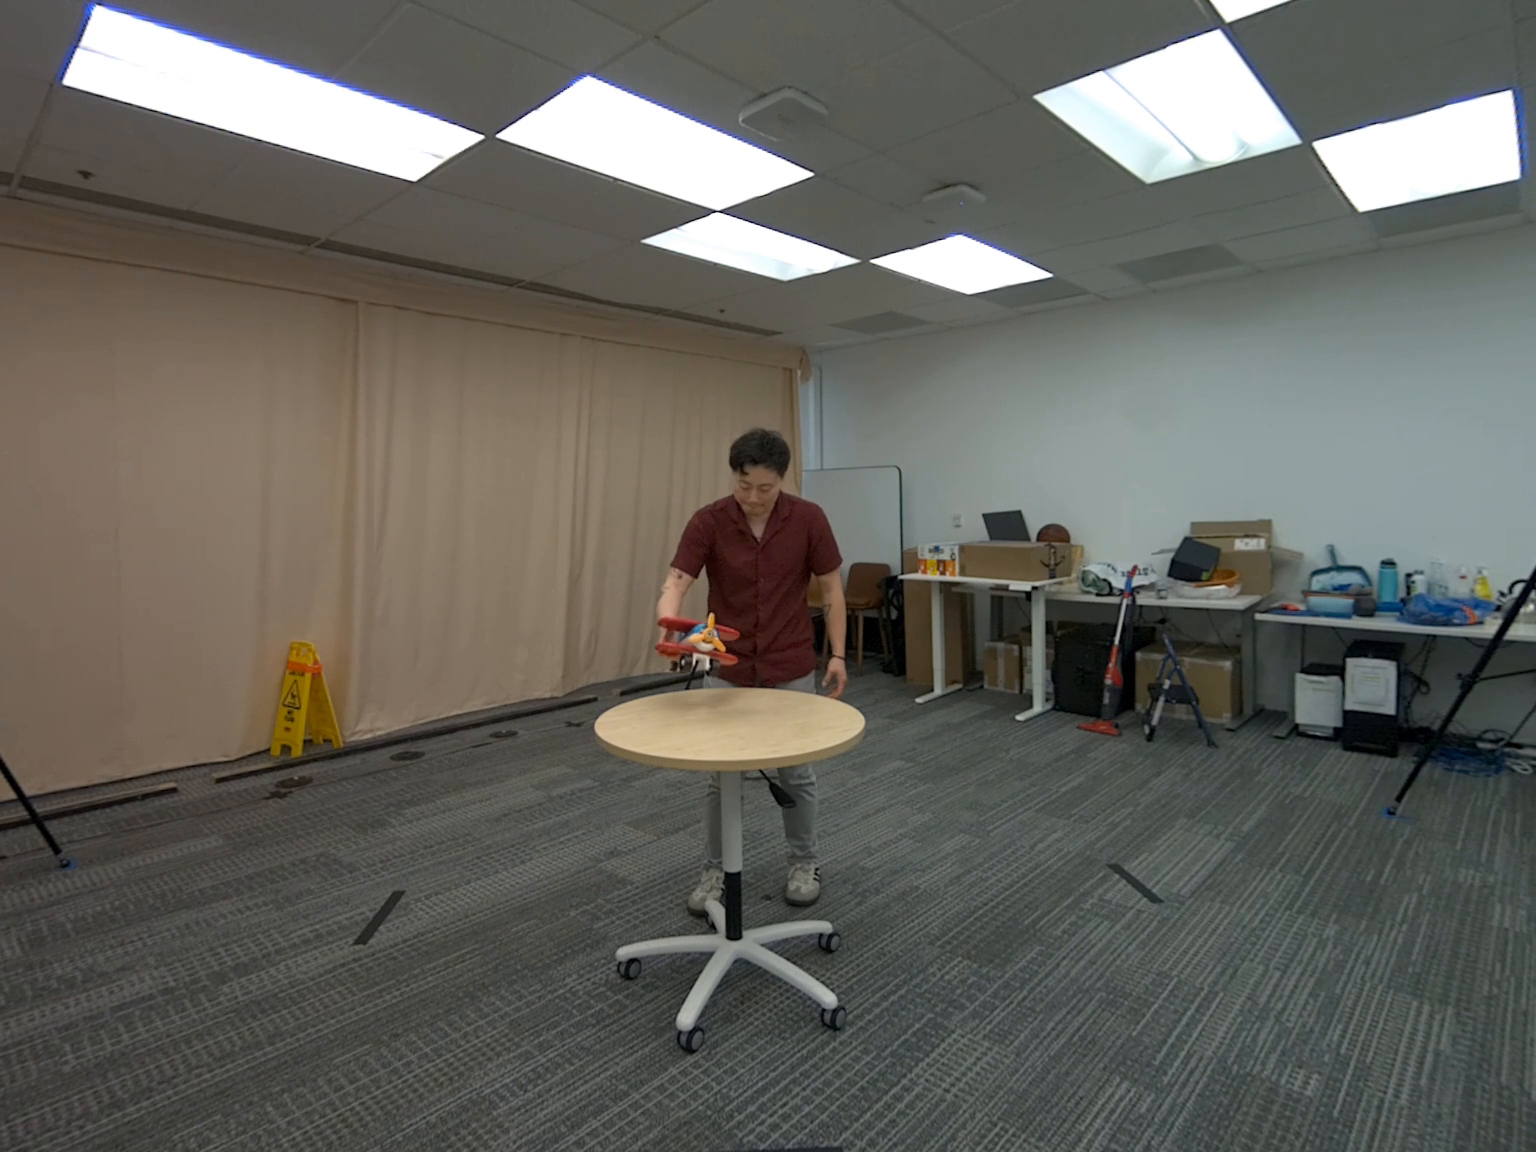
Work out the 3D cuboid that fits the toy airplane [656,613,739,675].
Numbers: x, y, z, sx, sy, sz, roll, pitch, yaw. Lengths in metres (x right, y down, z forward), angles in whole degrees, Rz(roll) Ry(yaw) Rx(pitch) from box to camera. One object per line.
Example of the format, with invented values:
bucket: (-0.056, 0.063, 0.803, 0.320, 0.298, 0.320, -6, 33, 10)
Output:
toy airplane: (-0.245, 0.210, 2.544, 0.267, 0.157, 0.242, 1, -13, 41)
